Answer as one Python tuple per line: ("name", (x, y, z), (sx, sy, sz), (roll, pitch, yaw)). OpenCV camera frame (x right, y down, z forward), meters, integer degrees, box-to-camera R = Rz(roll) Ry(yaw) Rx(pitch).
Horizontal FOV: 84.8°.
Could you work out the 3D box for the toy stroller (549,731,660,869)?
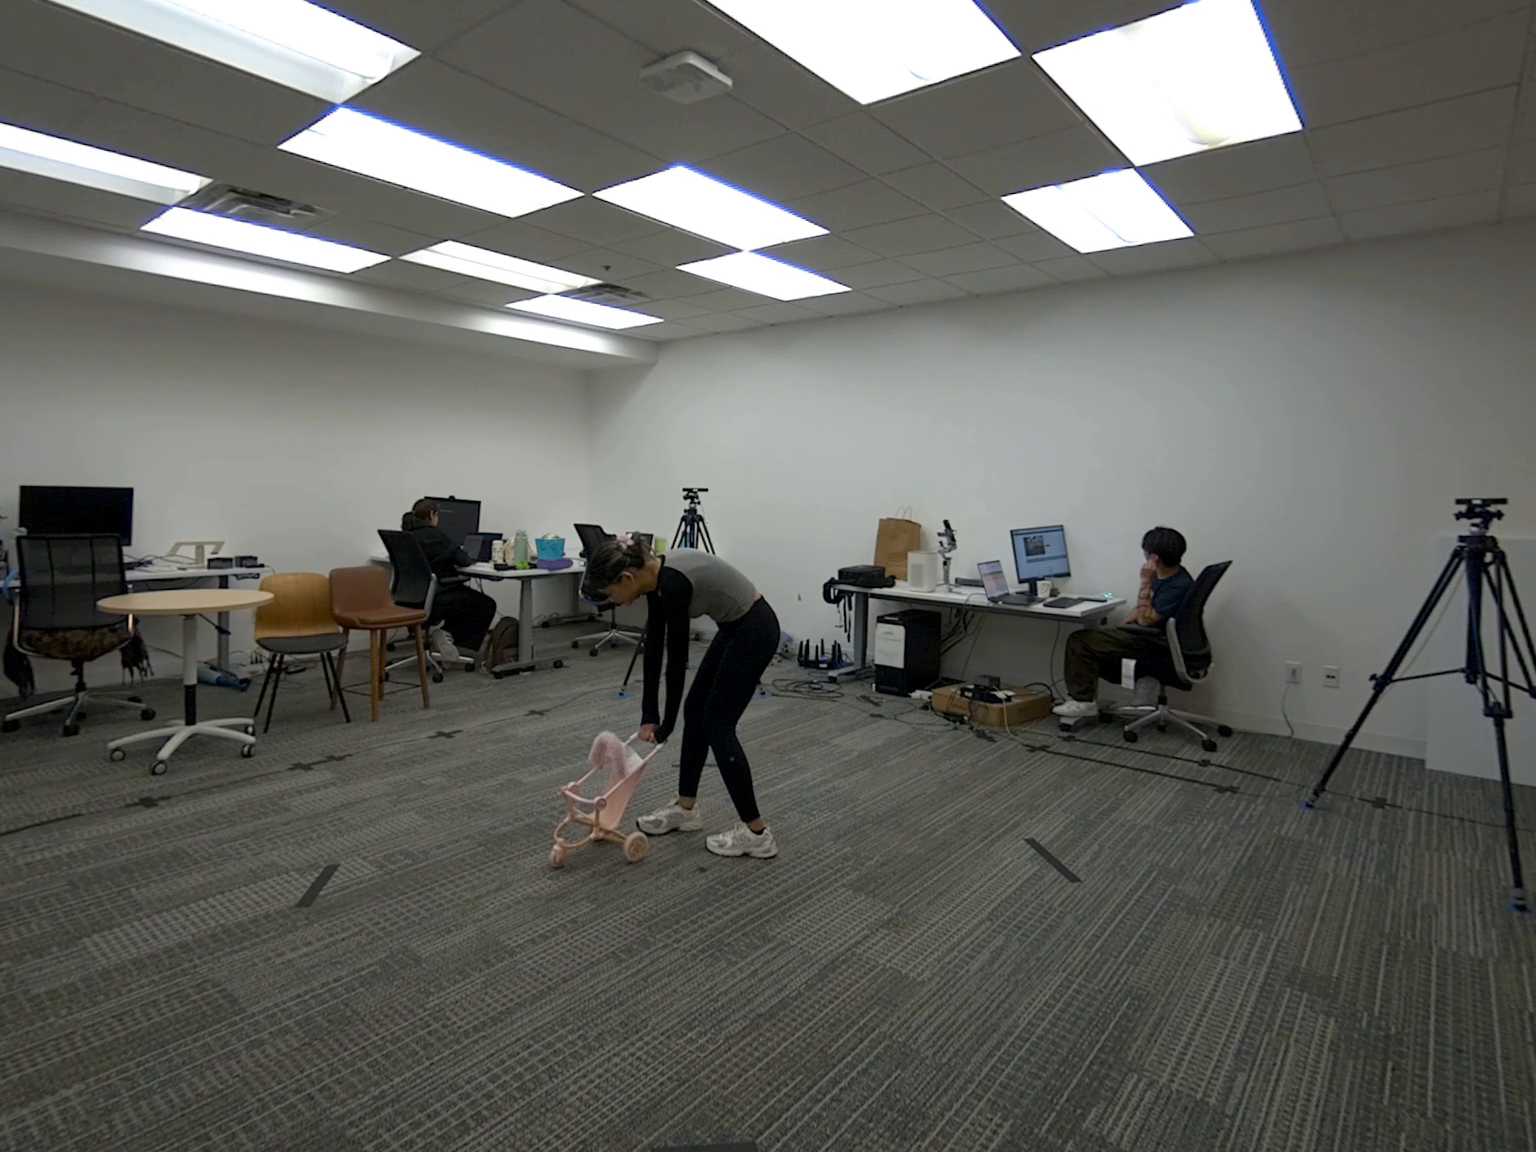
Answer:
("toy stroller", (-0.634, 0.826, 3.213), (0.329, 0.538, 0.291), (19, -9, -37))
